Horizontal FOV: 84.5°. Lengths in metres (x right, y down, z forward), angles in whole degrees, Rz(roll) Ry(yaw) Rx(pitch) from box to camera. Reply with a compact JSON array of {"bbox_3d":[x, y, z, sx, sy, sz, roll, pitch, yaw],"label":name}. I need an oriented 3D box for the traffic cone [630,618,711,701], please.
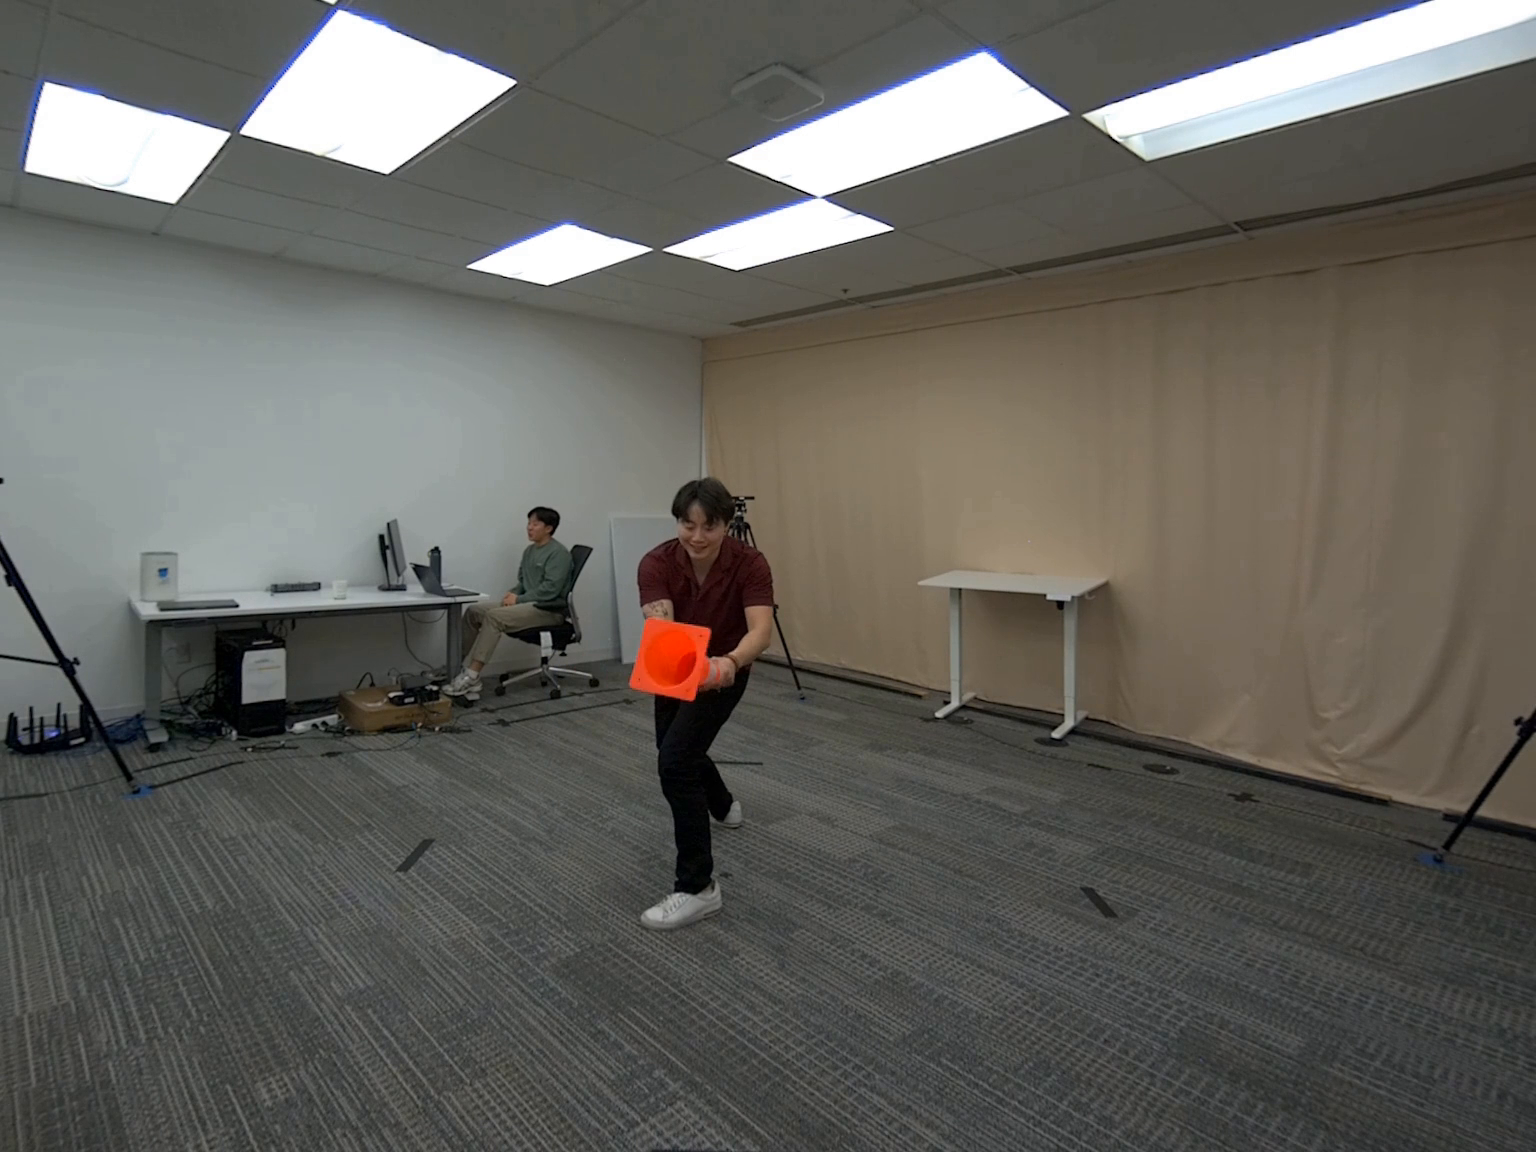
[{"bbox_3d":[-0.220,0.272,2.446,0.207,0.205,0.375,17,-8,20],"label":"traffic cone"}]
